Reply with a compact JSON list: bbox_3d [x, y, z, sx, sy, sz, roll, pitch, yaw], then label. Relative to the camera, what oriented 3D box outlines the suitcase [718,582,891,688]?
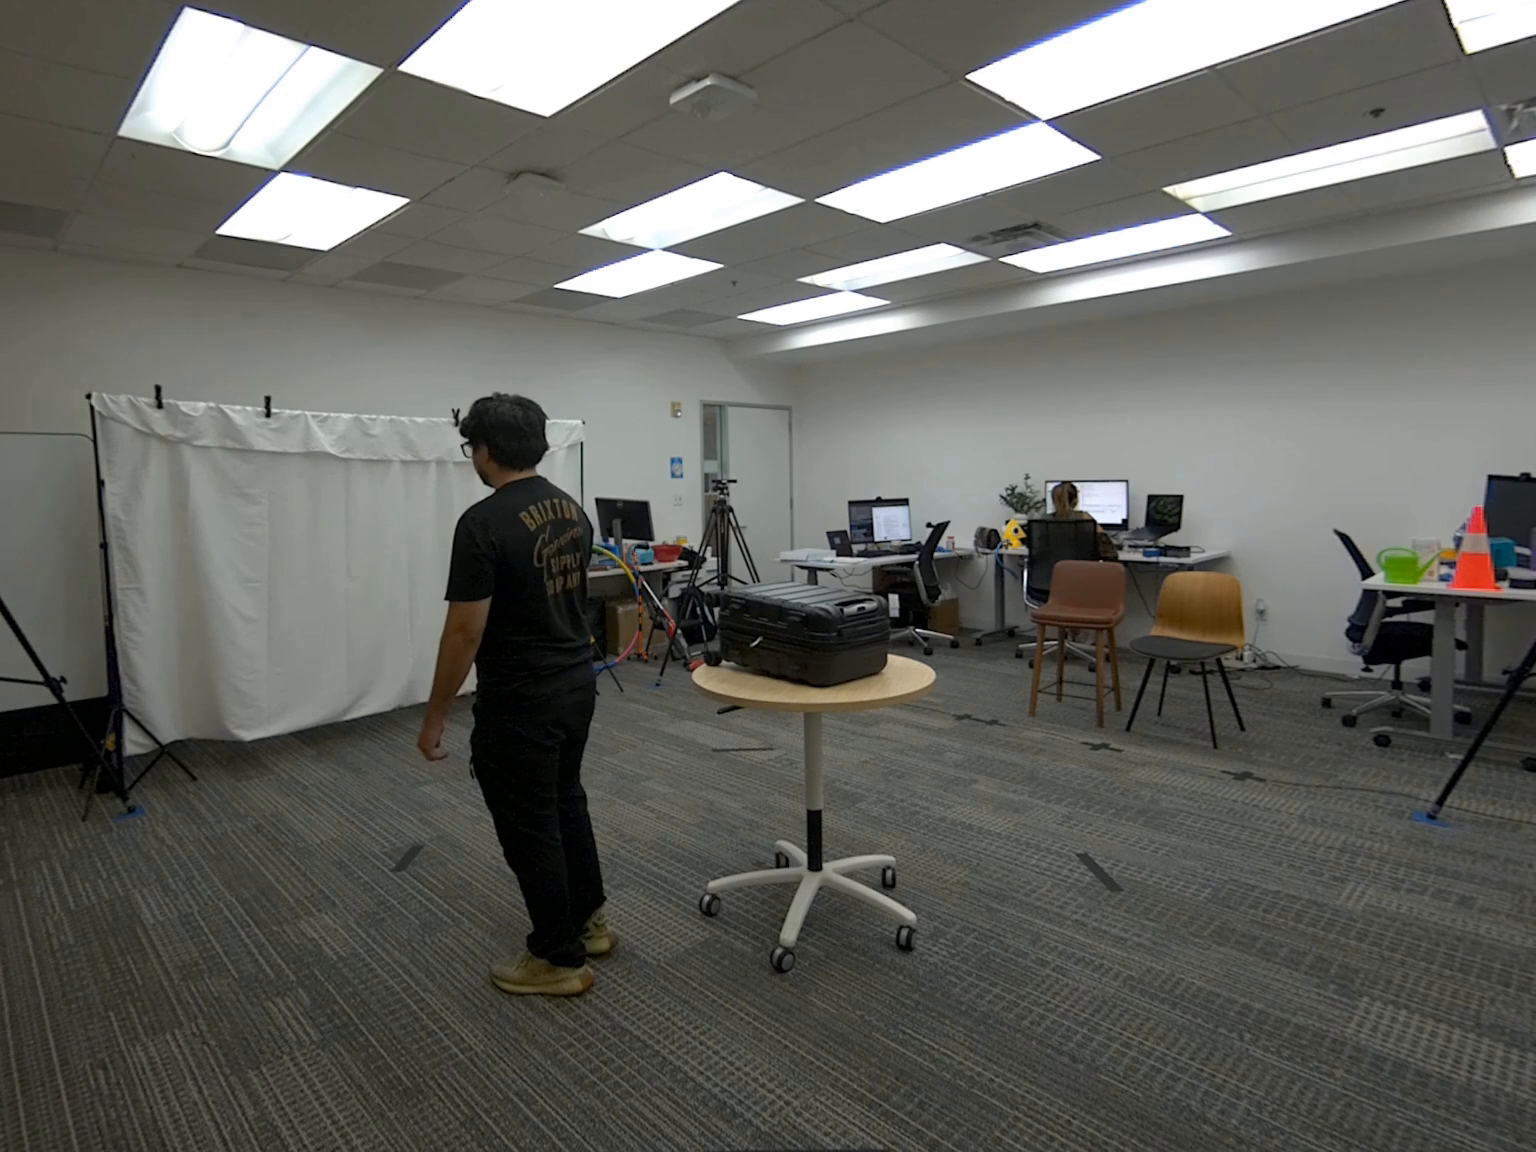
[{"bbox_3d":[0.107,0.176,2.757,0.567,0.247,0.365,7,10,44],"label":"suitcase"}]
